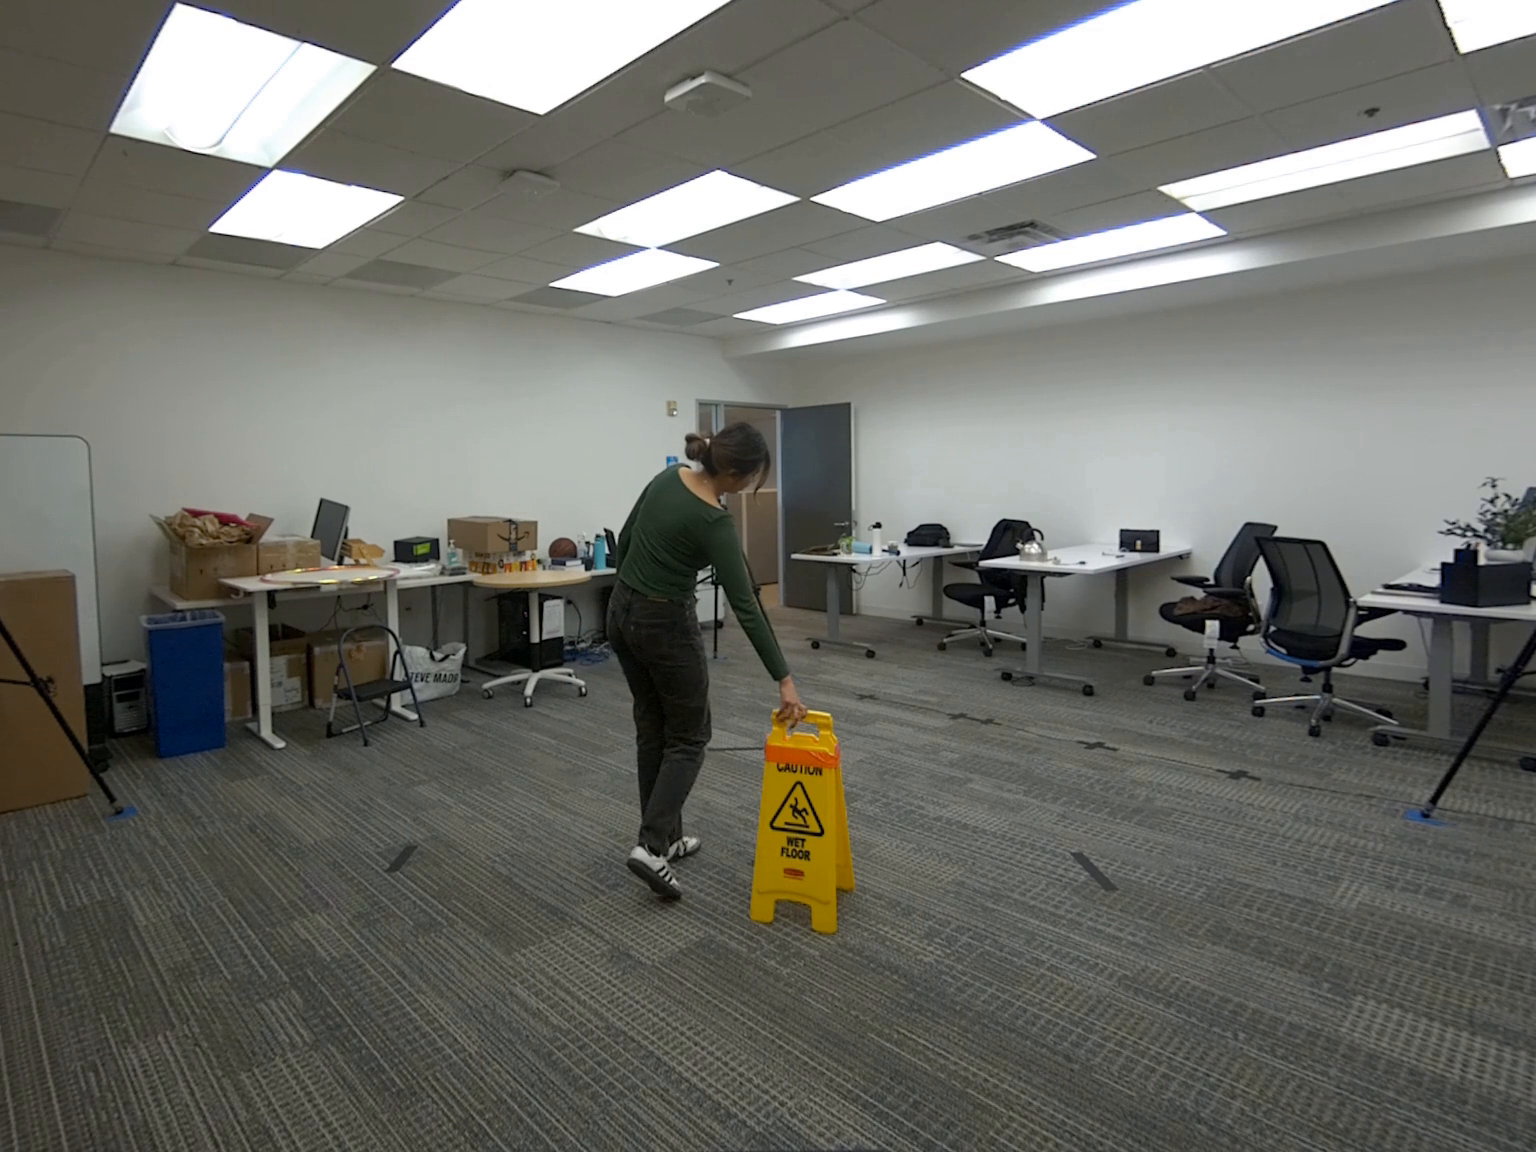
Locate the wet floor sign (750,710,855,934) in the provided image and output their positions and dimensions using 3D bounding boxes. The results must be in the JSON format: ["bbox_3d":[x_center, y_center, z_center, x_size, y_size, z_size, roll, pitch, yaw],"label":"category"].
[{"bbox_3d":[0.118,0.757,2.782,0.288,0.644,0.285,2,4,19],"label":"wet floor sign"}]
